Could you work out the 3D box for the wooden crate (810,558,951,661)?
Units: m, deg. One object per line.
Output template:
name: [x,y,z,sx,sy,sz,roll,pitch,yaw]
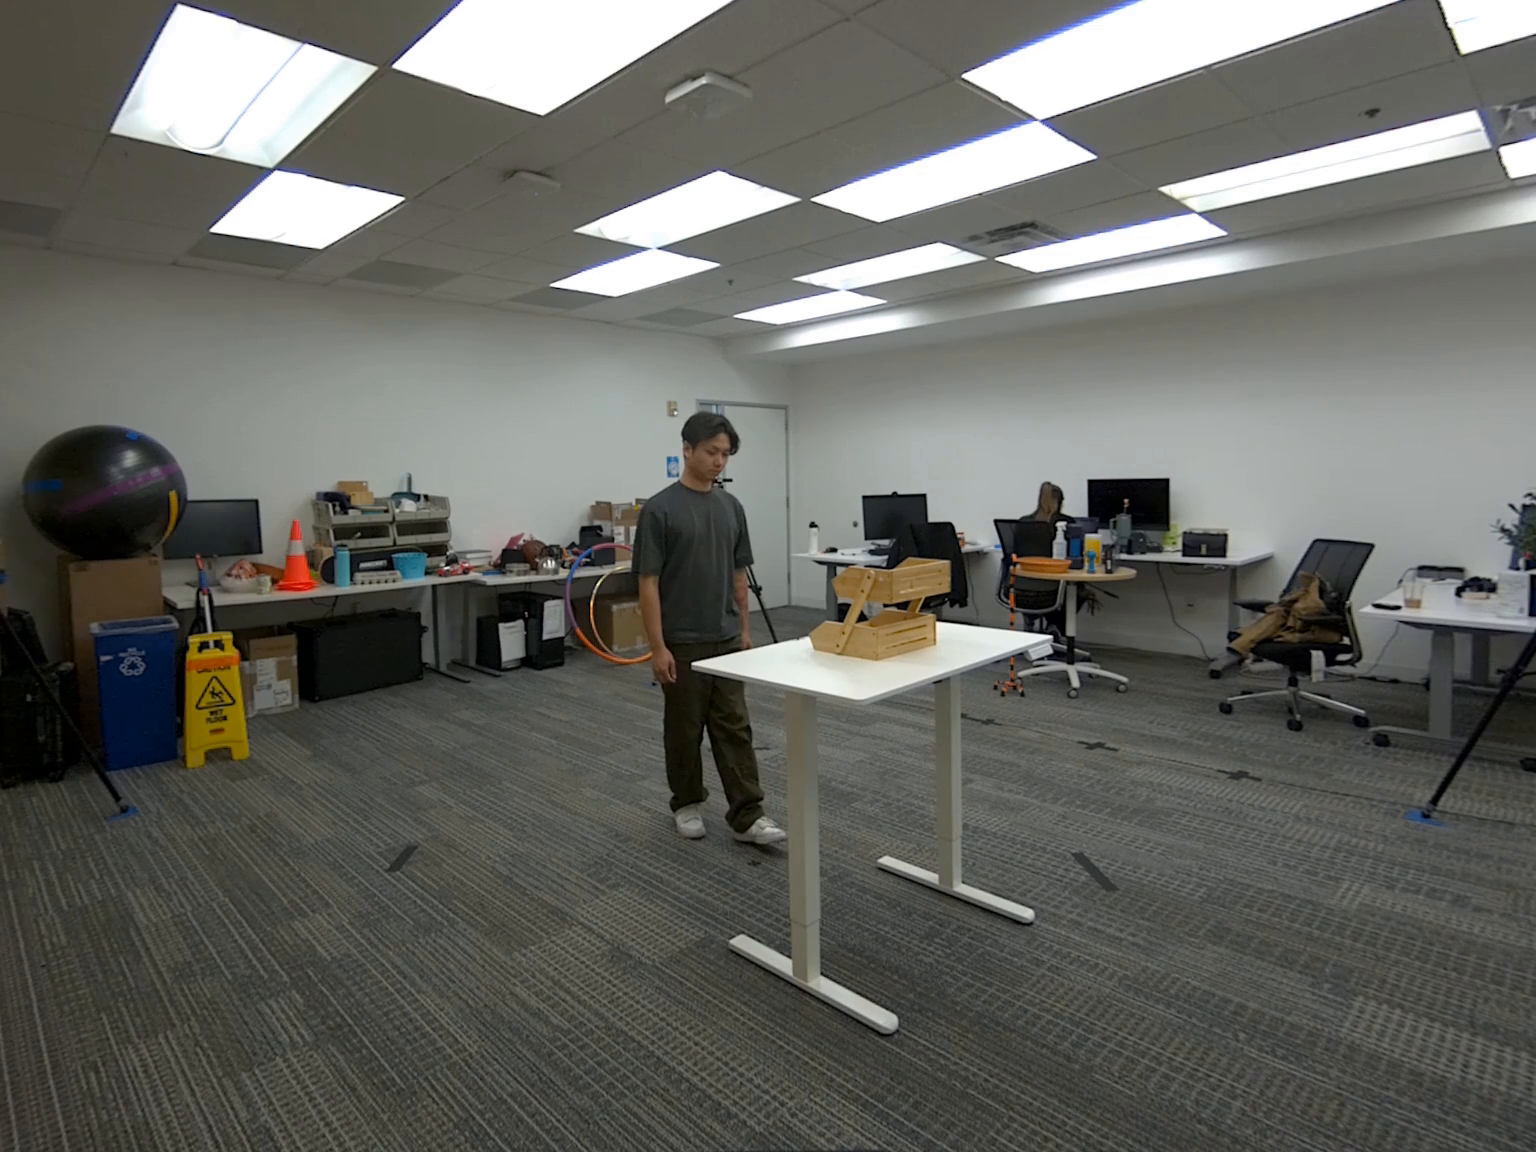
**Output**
wooden crate: [0.337,0.084,2.562,0.316,0.272,0.311,-7,9,-44]
